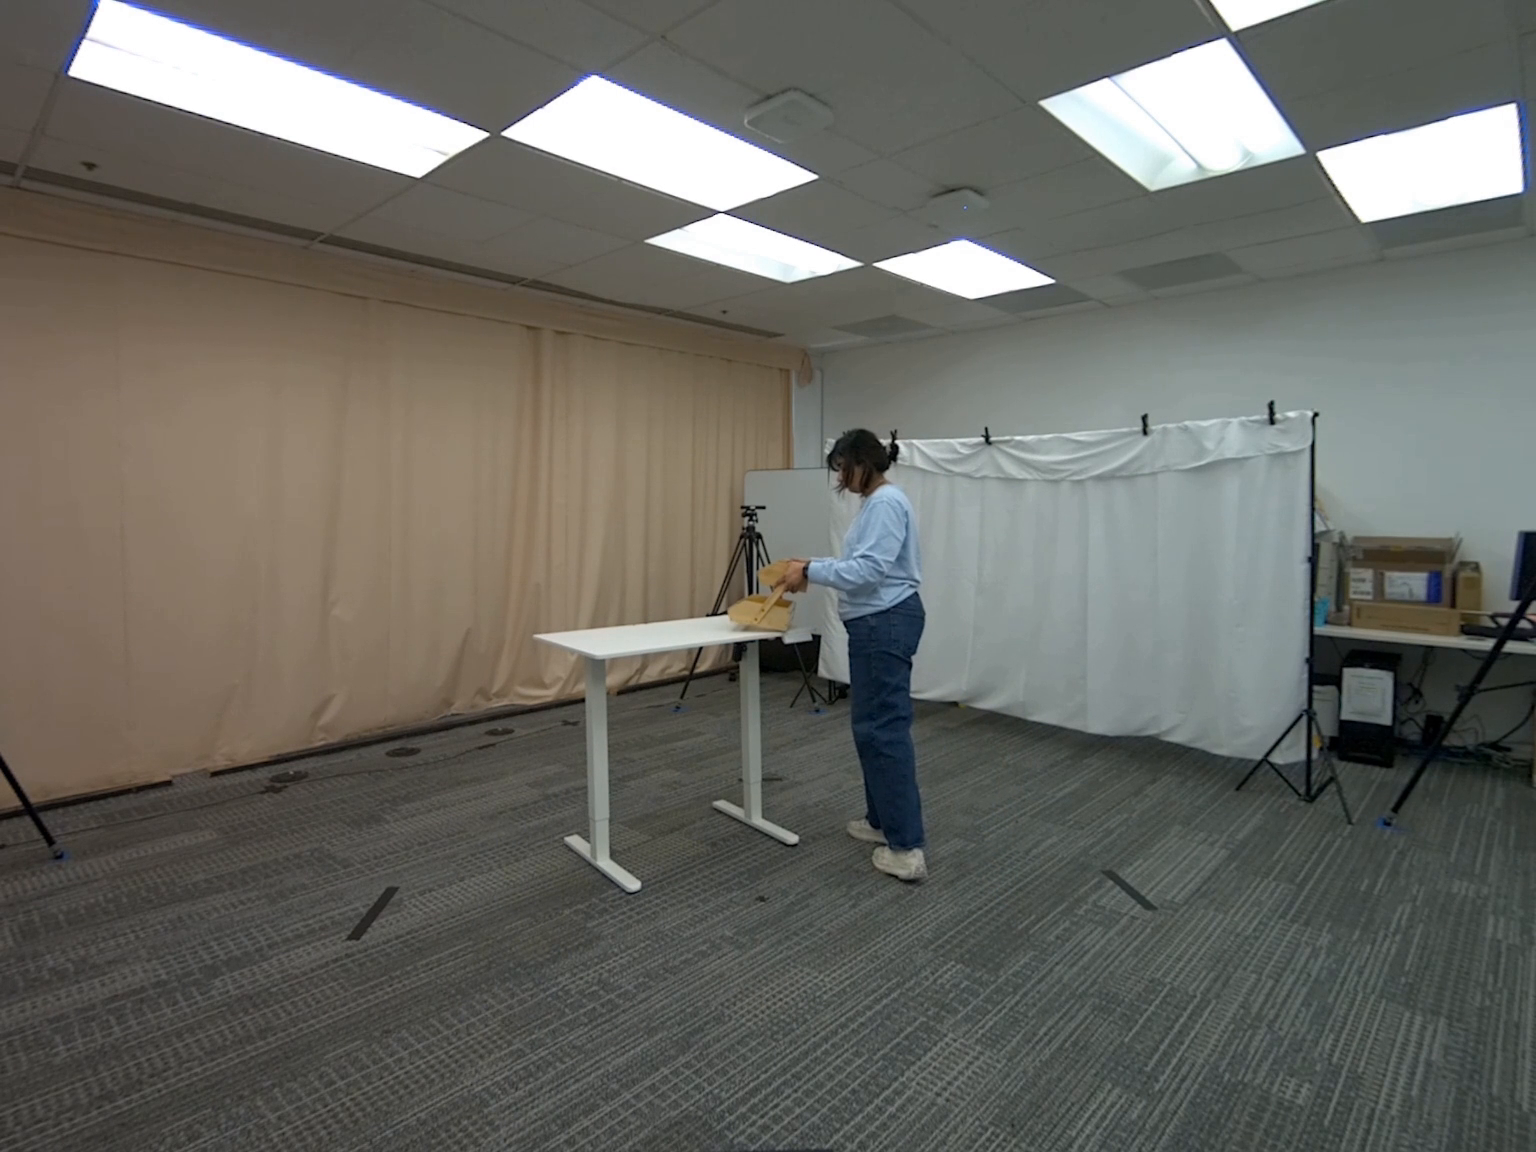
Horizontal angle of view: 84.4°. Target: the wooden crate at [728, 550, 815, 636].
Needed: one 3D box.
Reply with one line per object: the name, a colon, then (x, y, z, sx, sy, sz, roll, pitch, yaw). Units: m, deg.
wooden crate: (0.027, 0.060, 3.506, 0.305, 0.273, 0.322, 10, 5, 6)
